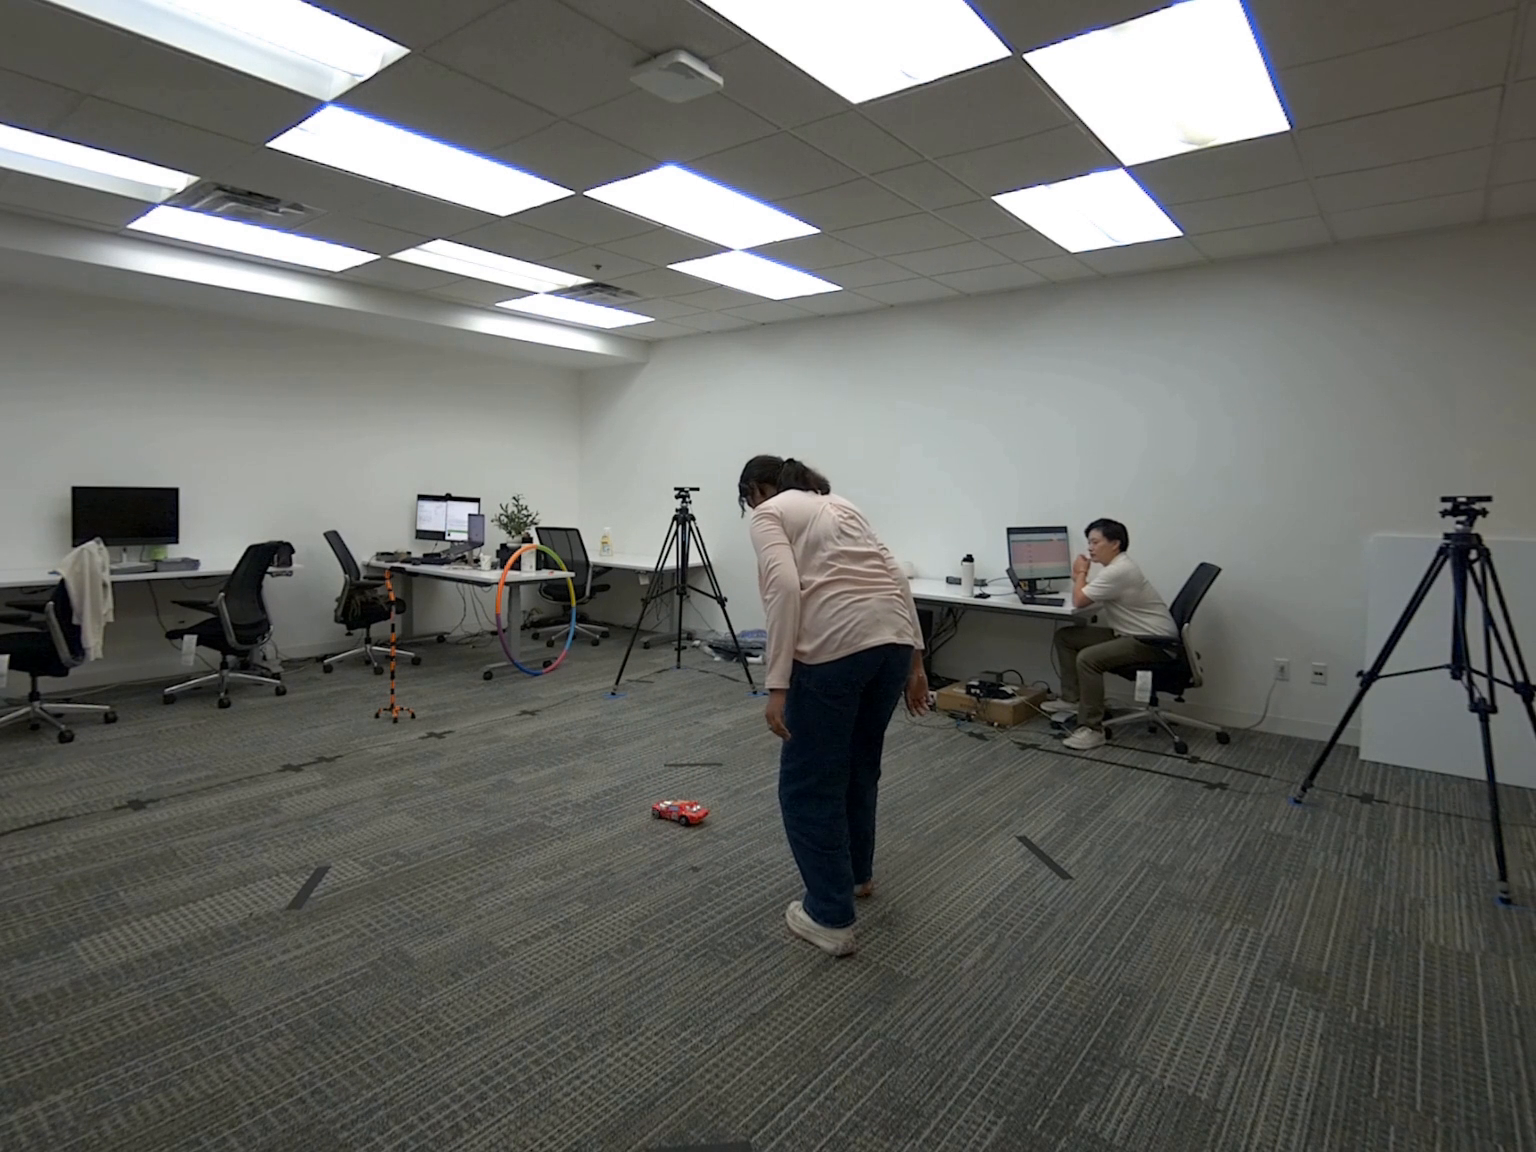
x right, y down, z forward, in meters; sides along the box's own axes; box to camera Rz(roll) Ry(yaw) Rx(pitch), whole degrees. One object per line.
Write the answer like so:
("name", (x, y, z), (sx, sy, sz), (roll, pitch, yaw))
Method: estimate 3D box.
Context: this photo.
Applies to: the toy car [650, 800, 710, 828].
("toy car", (-0.374, 0.986, 3.568), (0.261, 0.083, 0.127), (-8, -1, 32))
